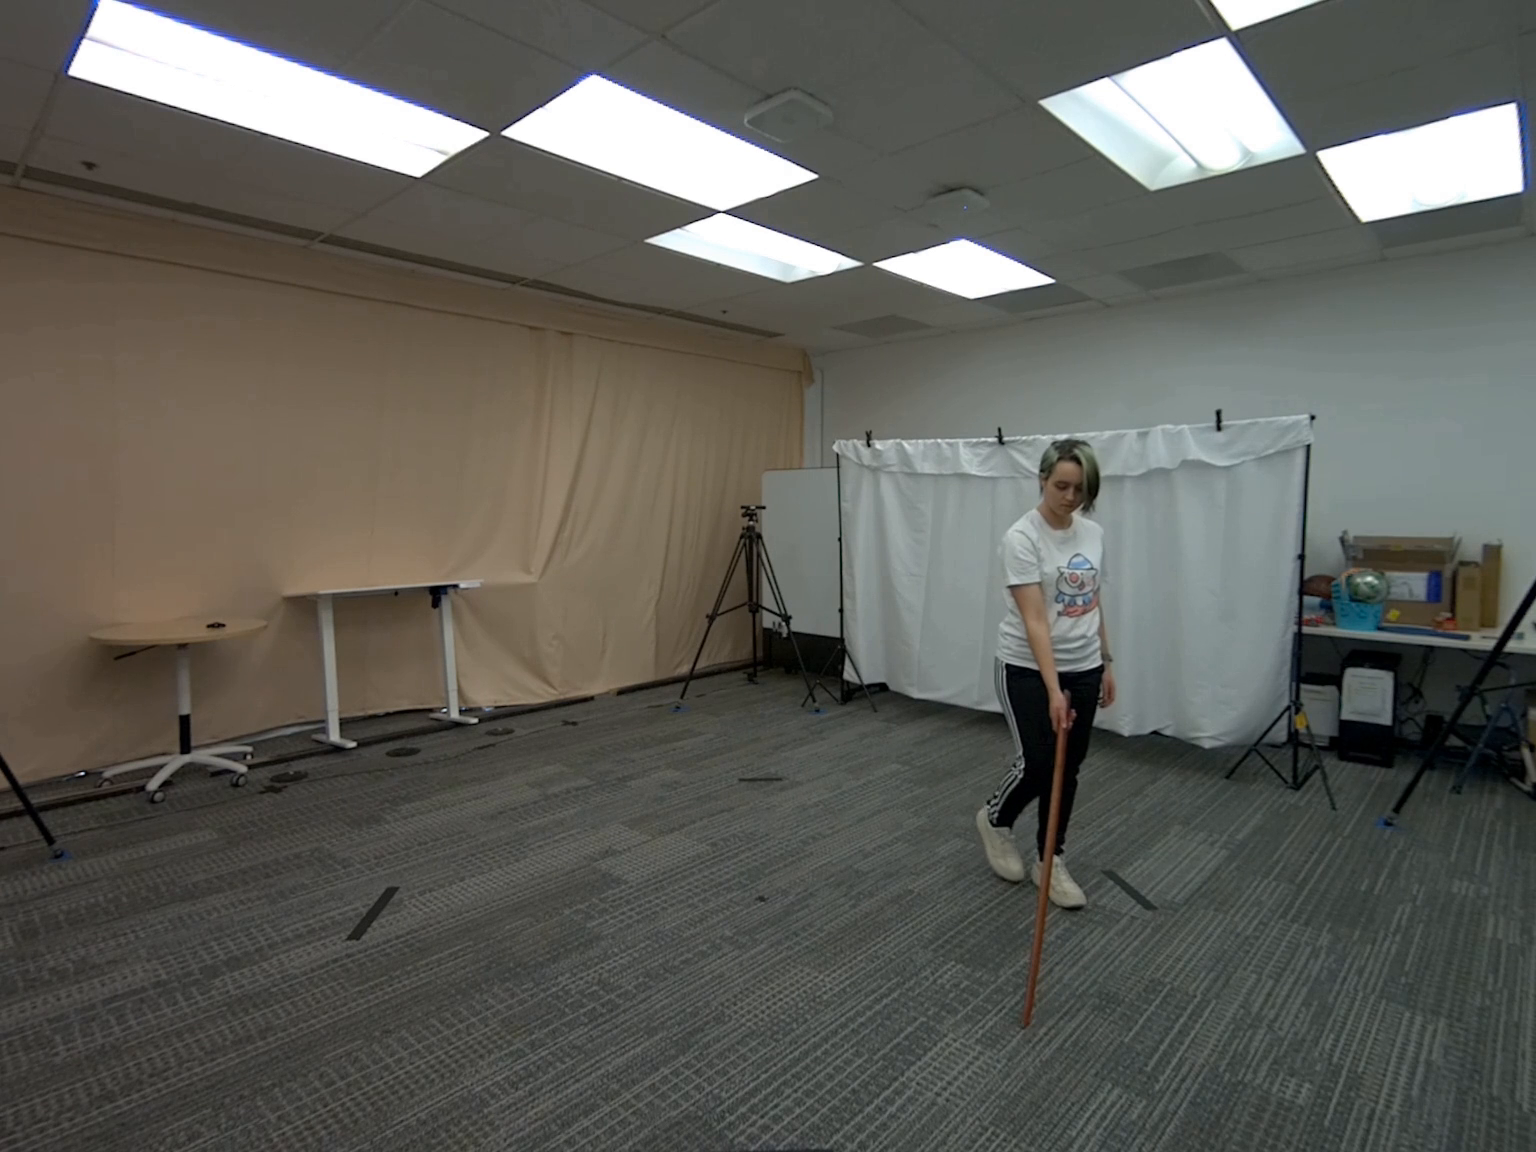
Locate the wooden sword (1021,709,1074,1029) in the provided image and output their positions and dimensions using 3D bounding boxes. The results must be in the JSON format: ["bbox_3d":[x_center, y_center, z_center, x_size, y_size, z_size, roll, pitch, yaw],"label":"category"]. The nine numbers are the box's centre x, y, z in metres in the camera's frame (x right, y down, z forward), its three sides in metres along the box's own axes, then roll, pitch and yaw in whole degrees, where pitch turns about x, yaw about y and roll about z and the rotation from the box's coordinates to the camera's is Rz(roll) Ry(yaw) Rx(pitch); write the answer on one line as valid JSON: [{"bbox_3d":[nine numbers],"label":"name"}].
[{"bbox_3d":[0.872,0.803,2.516,0.051,1.027,0.024,22,-31,4],"label":"wooden sword"}]
